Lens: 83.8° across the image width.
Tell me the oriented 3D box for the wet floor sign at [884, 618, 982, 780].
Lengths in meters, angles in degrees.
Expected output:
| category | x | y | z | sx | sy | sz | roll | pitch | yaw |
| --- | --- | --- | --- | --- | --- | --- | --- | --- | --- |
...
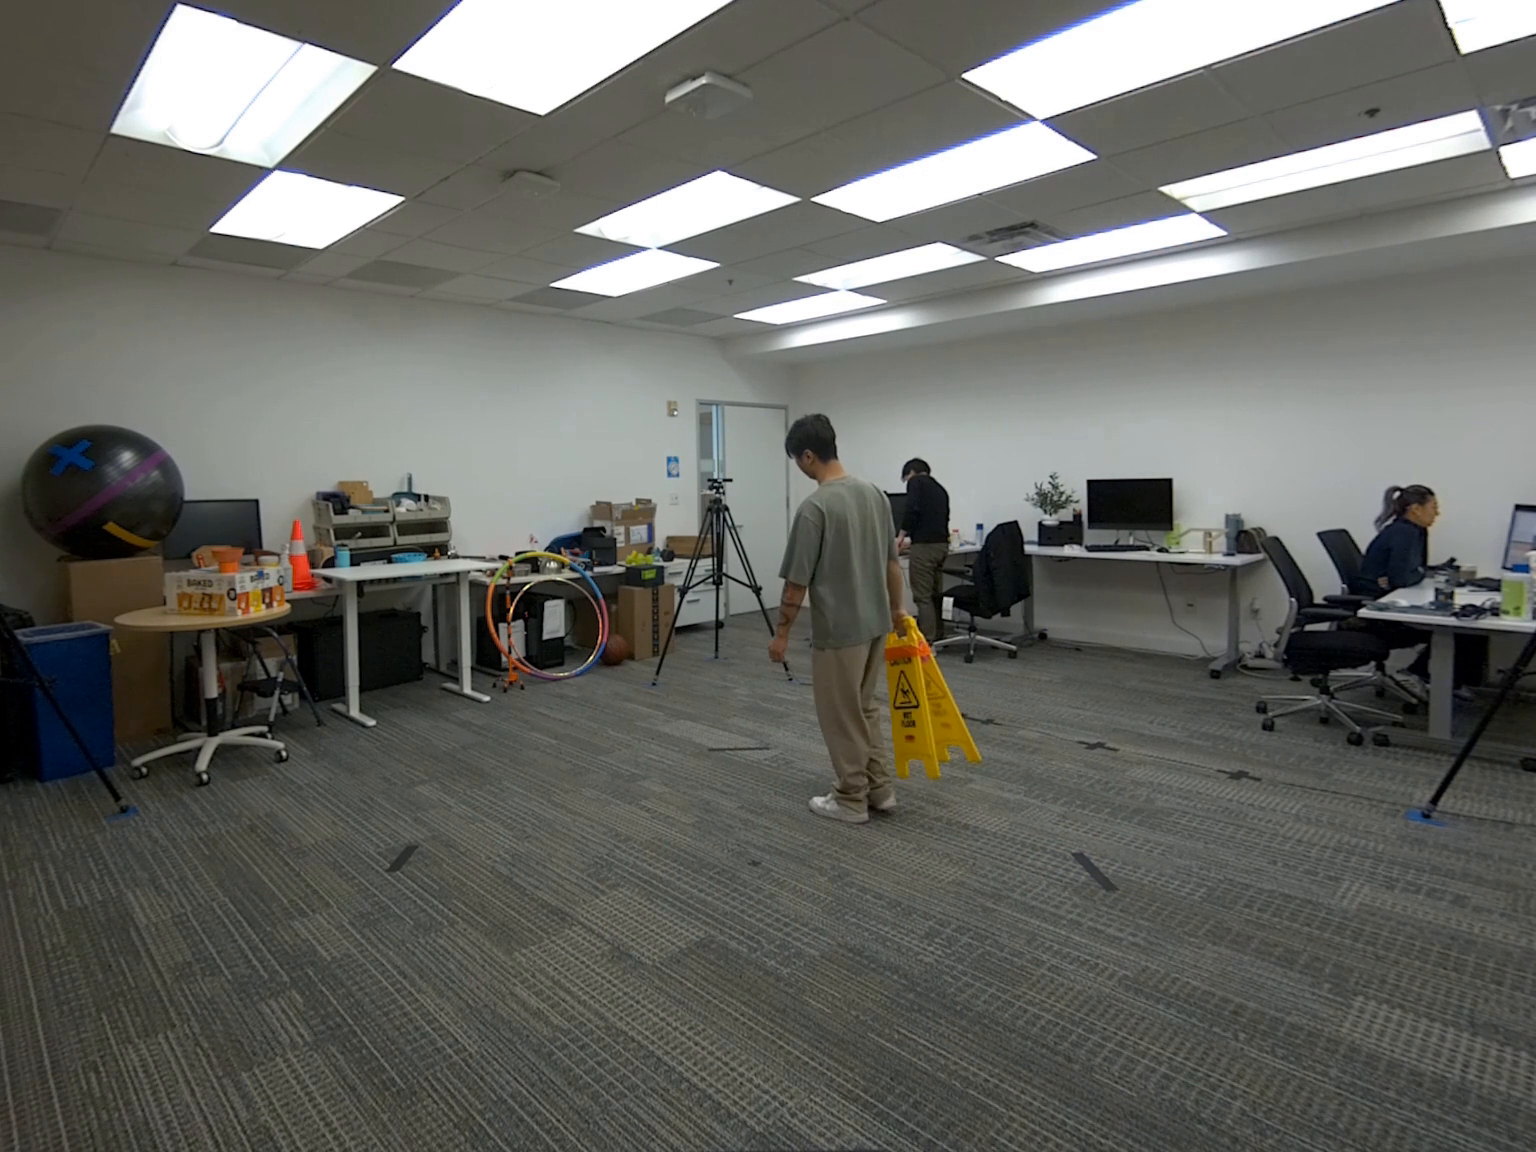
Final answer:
| category | x | y | z | sx | sy | sz | roll | pitch | yaw |
| --- | --- | --- | --- | --- | --- | --- | --- | --- | --- |
| wet floor sign | 0.629 | 0.503 | 3.644 | 0.284 | 0.652 | 0.285 | -10 | -9 | -28 |
